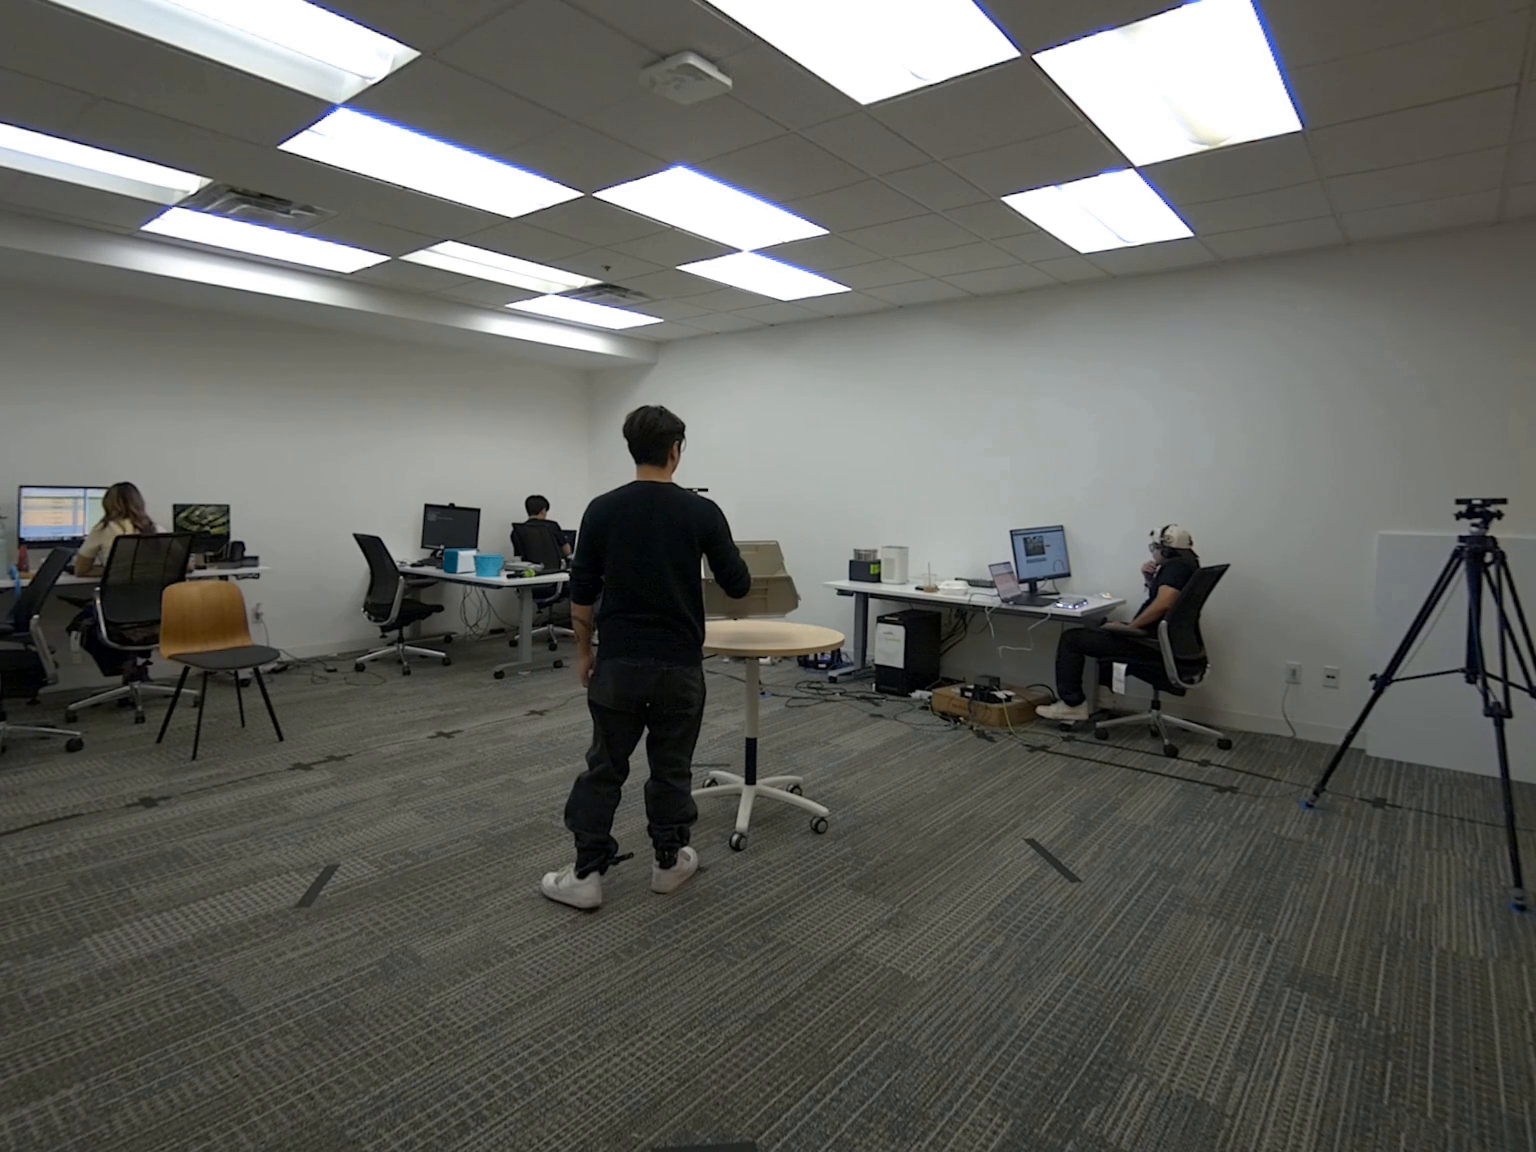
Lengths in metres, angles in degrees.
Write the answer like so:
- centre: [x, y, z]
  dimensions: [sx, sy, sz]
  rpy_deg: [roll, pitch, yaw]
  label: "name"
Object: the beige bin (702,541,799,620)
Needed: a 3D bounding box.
- centre: [-0.084, 0.007, 3.486]
  dimensions: [0.377, 0.185, 0.430]
  rpy_deg: [-2, 21, -1]
  label: "beige bin"
